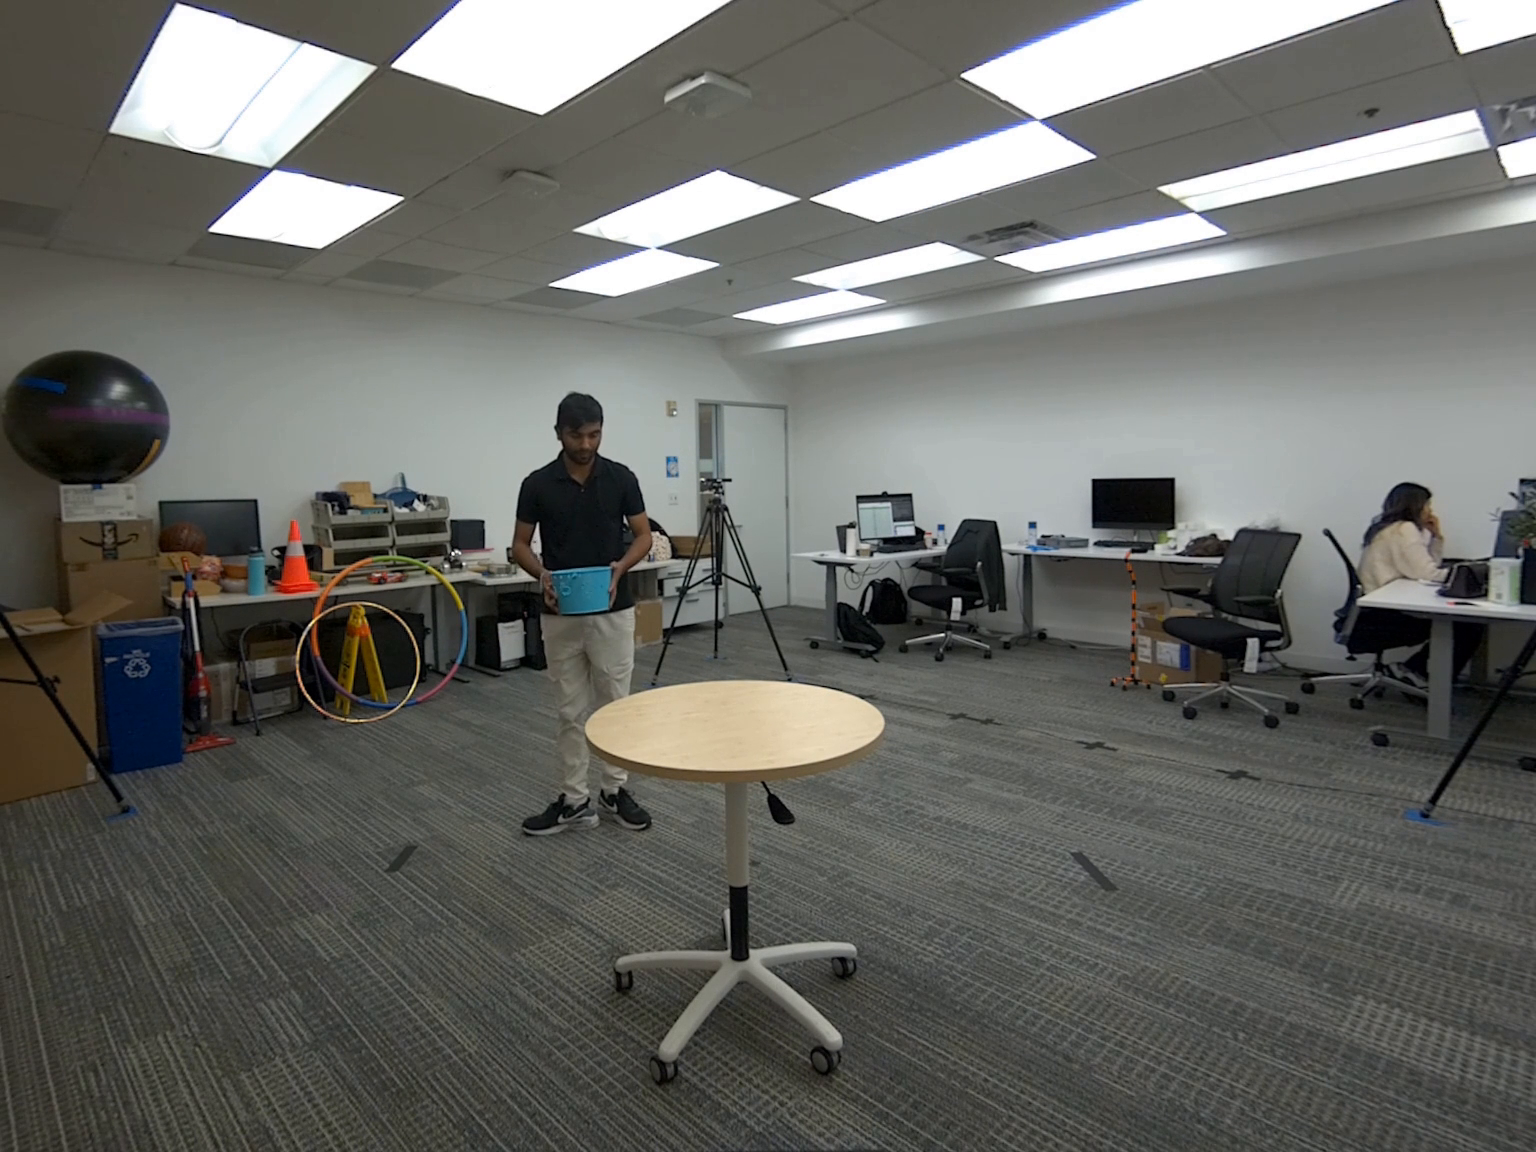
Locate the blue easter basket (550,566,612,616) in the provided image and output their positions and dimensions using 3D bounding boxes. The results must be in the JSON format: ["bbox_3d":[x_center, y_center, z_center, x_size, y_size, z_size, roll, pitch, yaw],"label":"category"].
[{"bbox_3d":[-0.716,0.058,3.171,0.243,0.155,0.244,-4,3,-2],"label":"blue easter basket"}]
